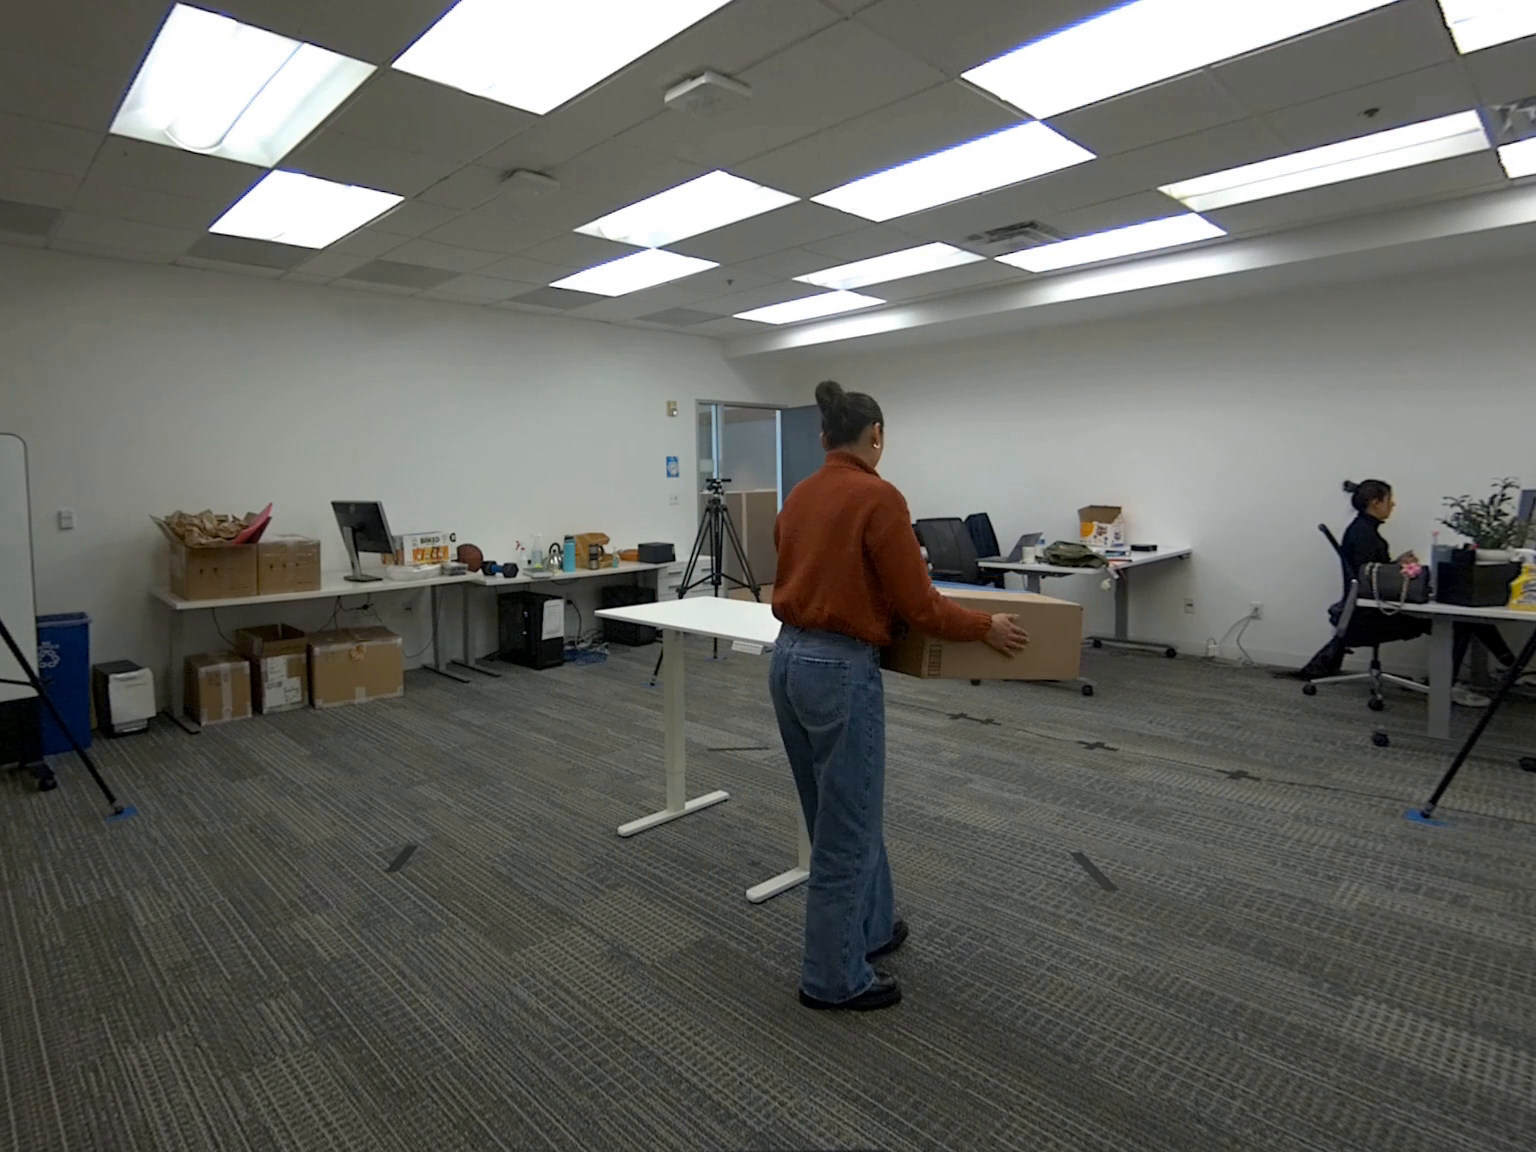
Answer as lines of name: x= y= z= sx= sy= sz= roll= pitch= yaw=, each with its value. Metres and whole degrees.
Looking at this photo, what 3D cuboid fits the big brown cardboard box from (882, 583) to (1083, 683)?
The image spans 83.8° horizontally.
big brown cardboard box: x=0.543 y=0.150 z=2.460 sx=0.574 sy=0.233 sz=0.428 roll=5 pitch=2 yaw=-28
